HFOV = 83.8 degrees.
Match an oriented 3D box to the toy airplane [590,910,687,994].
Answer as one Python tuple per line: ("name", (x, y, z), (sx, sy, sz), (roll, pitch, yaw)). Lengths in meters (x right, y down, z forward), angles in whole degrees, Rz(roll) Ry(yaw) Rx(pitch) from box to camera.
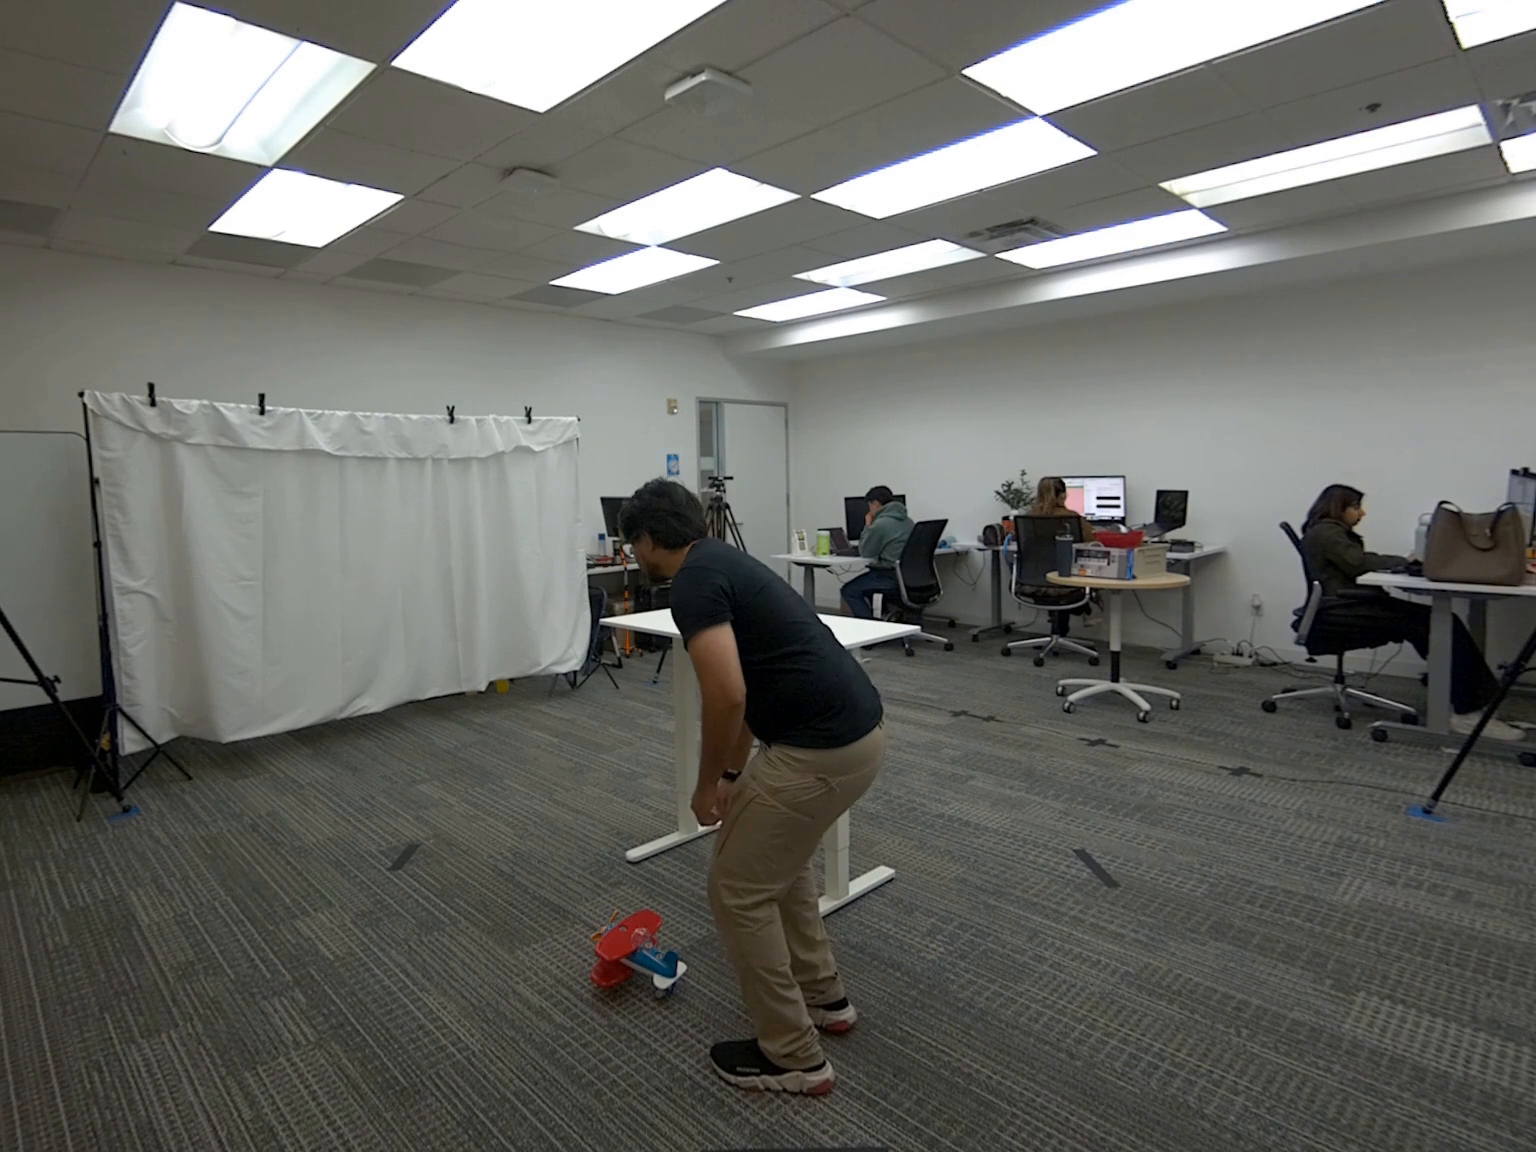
("toy airplane", (-0.349, 1.058, 2.383), (0.260, 0.155, 0.252), (-3, 7, 1))
